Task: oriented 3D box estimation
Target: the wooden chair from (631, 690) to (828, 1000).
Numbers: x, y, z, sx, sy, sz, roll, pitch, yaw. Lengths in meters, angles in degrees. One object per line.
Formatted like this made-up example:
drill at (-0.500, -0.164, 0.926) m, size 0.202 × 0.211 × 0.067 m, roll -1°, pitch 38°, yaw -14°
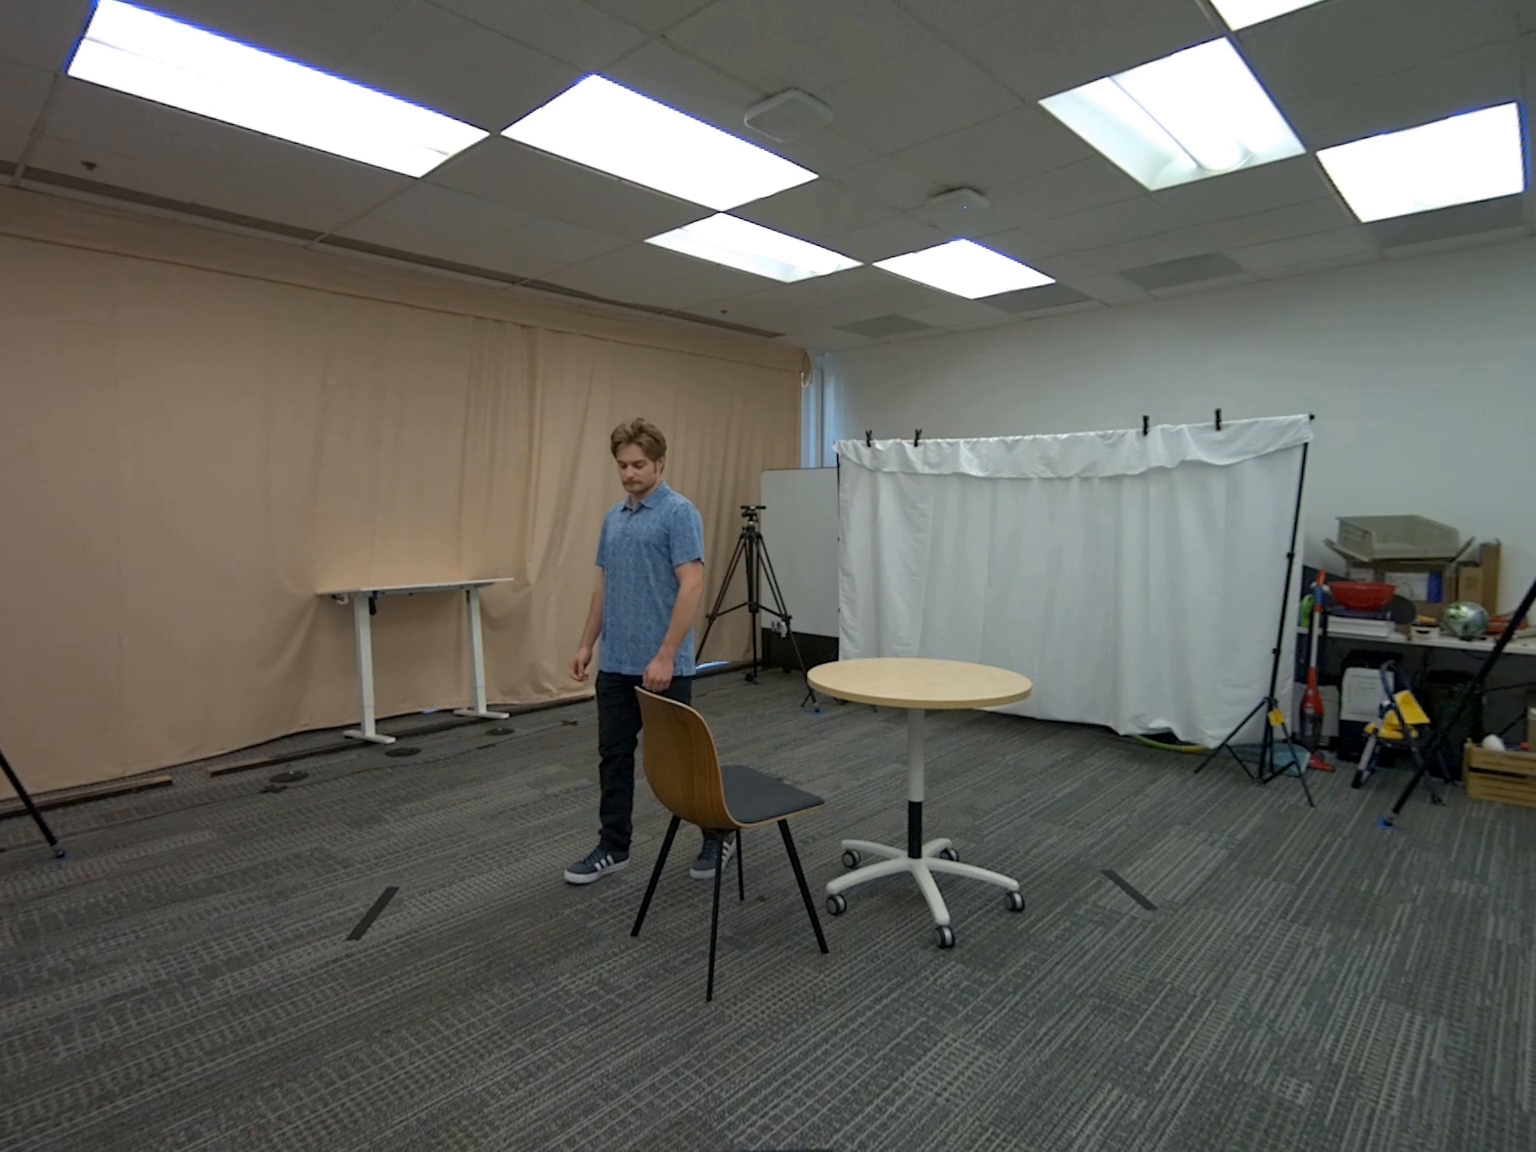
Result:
wooden chair at (-0.120, 0.745, 2.651) m, size 0.509 × 0.874 × 0.493 m, roll -8°, pitch 7°, yaw -36°
